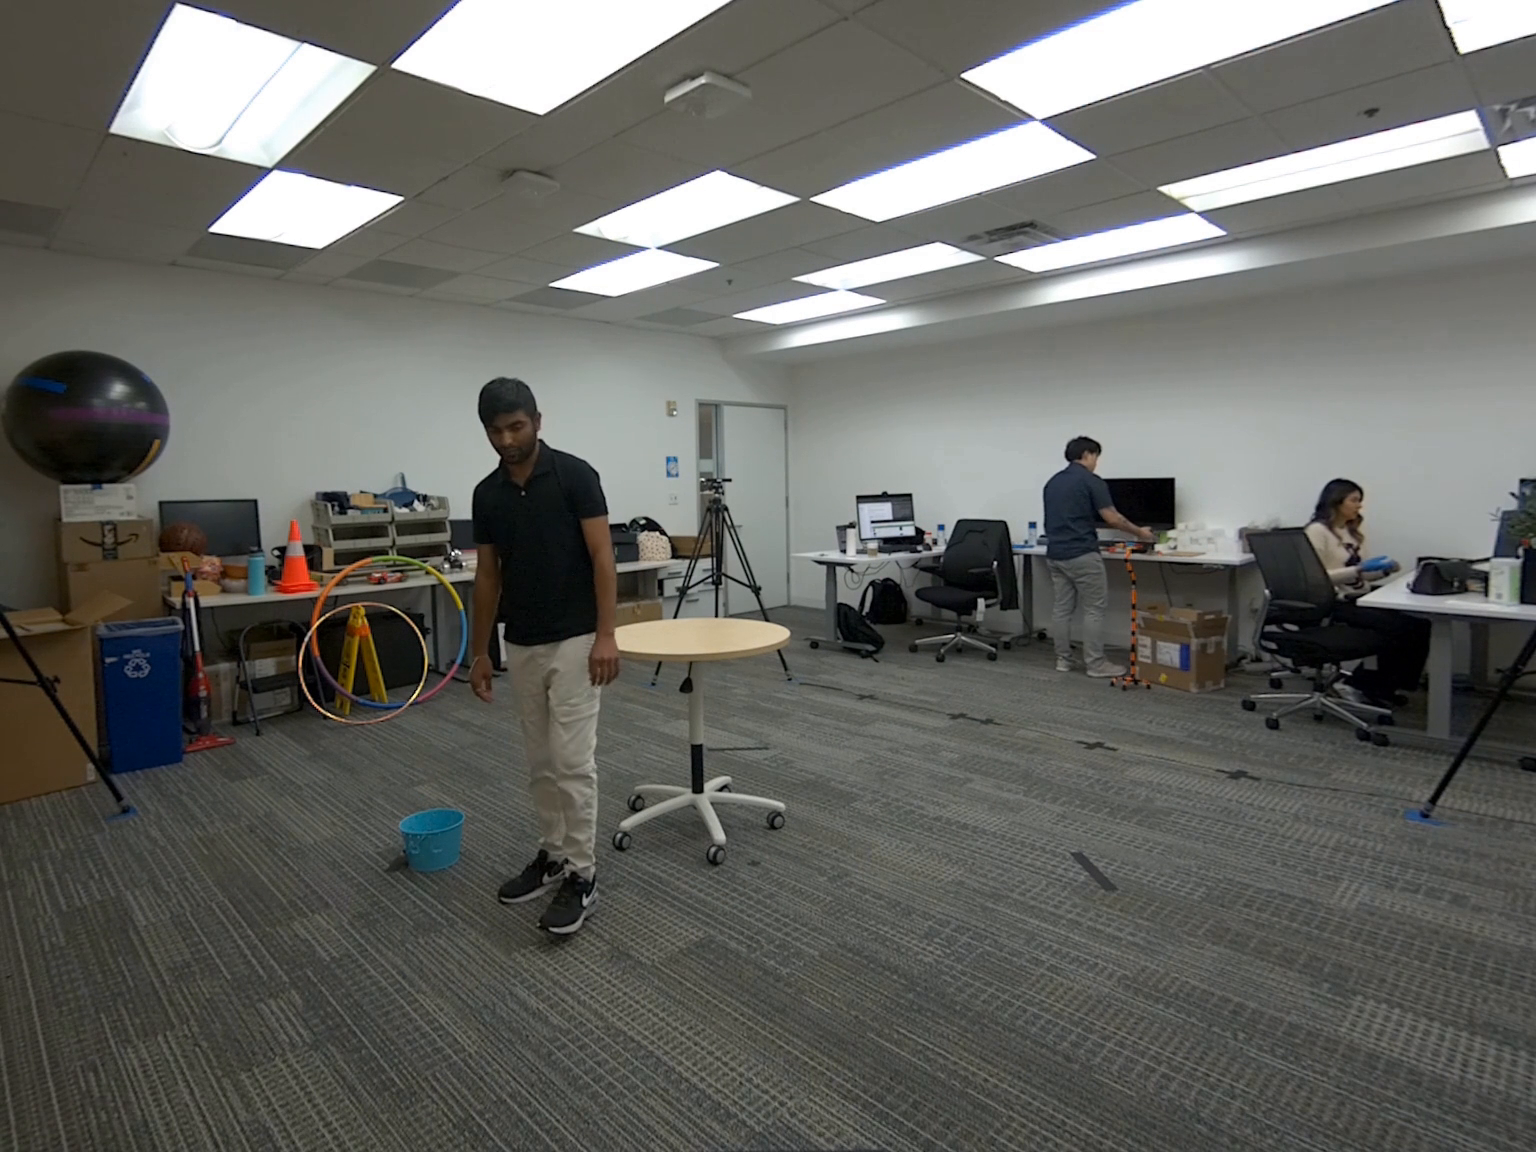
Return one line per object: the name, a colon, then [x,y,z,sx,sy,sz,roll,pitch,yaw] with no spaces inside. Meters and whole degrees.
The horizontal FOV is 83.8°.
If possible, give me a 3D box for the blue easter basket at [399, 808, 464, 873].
blue easter basket: [-1.247,0.984,3.189,0.243,0.155,0.245,-1,6,-2]
